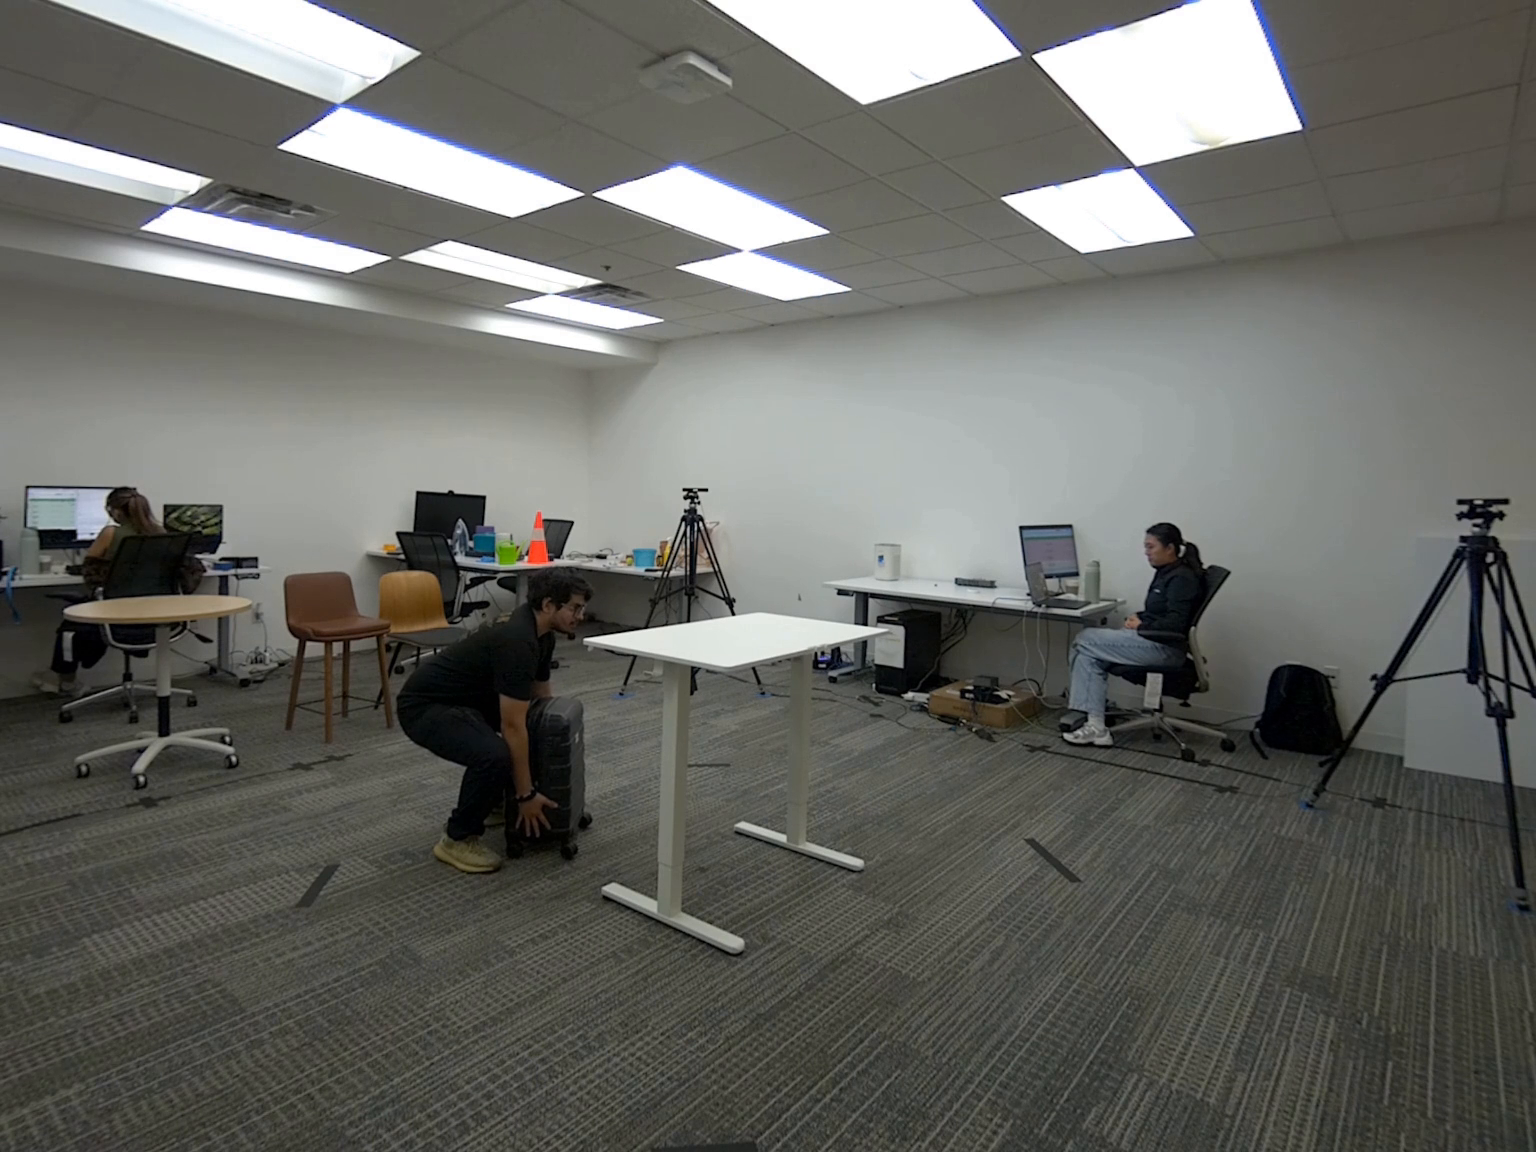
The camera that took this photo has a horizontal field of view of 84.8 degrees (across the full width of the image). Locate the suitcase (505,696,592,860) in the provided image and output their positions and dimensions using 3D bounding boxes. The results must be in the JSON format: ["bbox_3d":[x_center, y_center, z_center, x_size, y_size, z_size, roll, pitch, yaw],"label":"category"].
[{"bbox_3d":[-0.885,0.762,3.323,0.248,0.549,0.376,-2,2,-2],"label":"suitcase"}]
